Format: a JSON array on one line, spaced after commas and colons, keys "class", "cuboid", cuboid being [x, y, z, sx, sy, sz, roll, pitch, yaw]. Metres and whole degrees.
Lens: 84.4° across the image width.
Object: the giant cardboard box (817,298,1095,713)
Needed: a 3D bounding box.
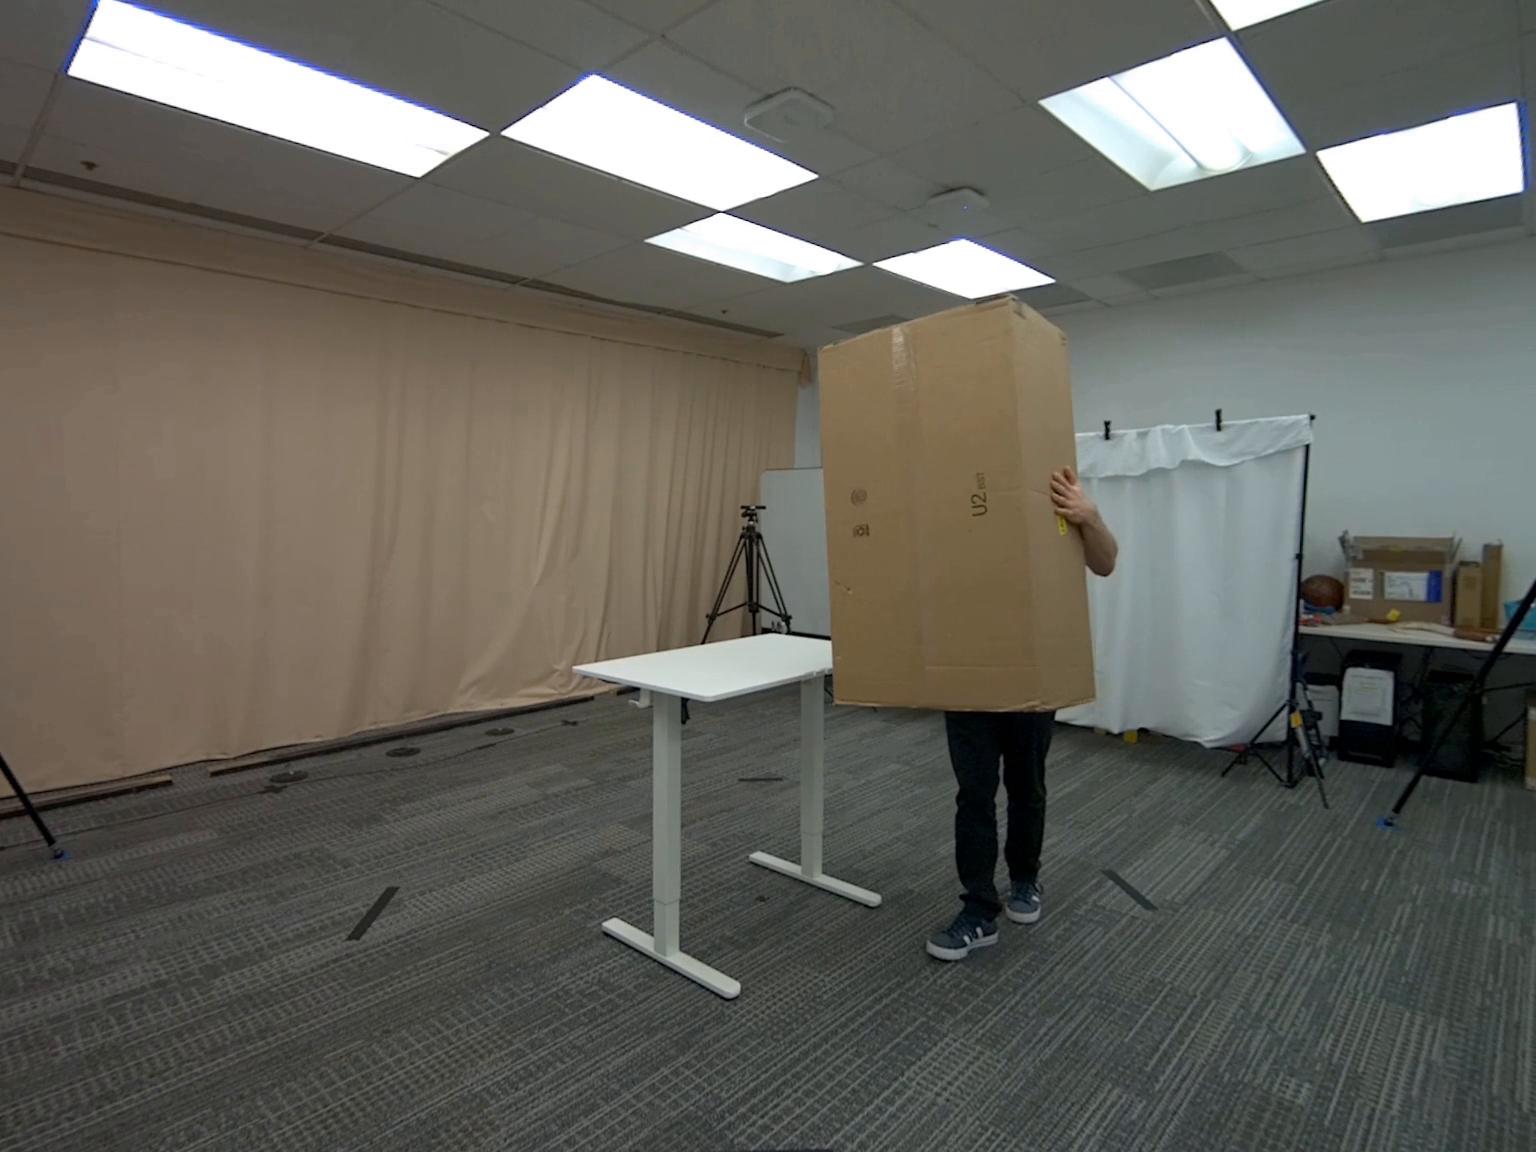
[{"class": "giant cardboard box", "cuboid": [0.517, -0.164, 2.351, 0.594, 1.030, 0.412, -7, -8, 39]}]
